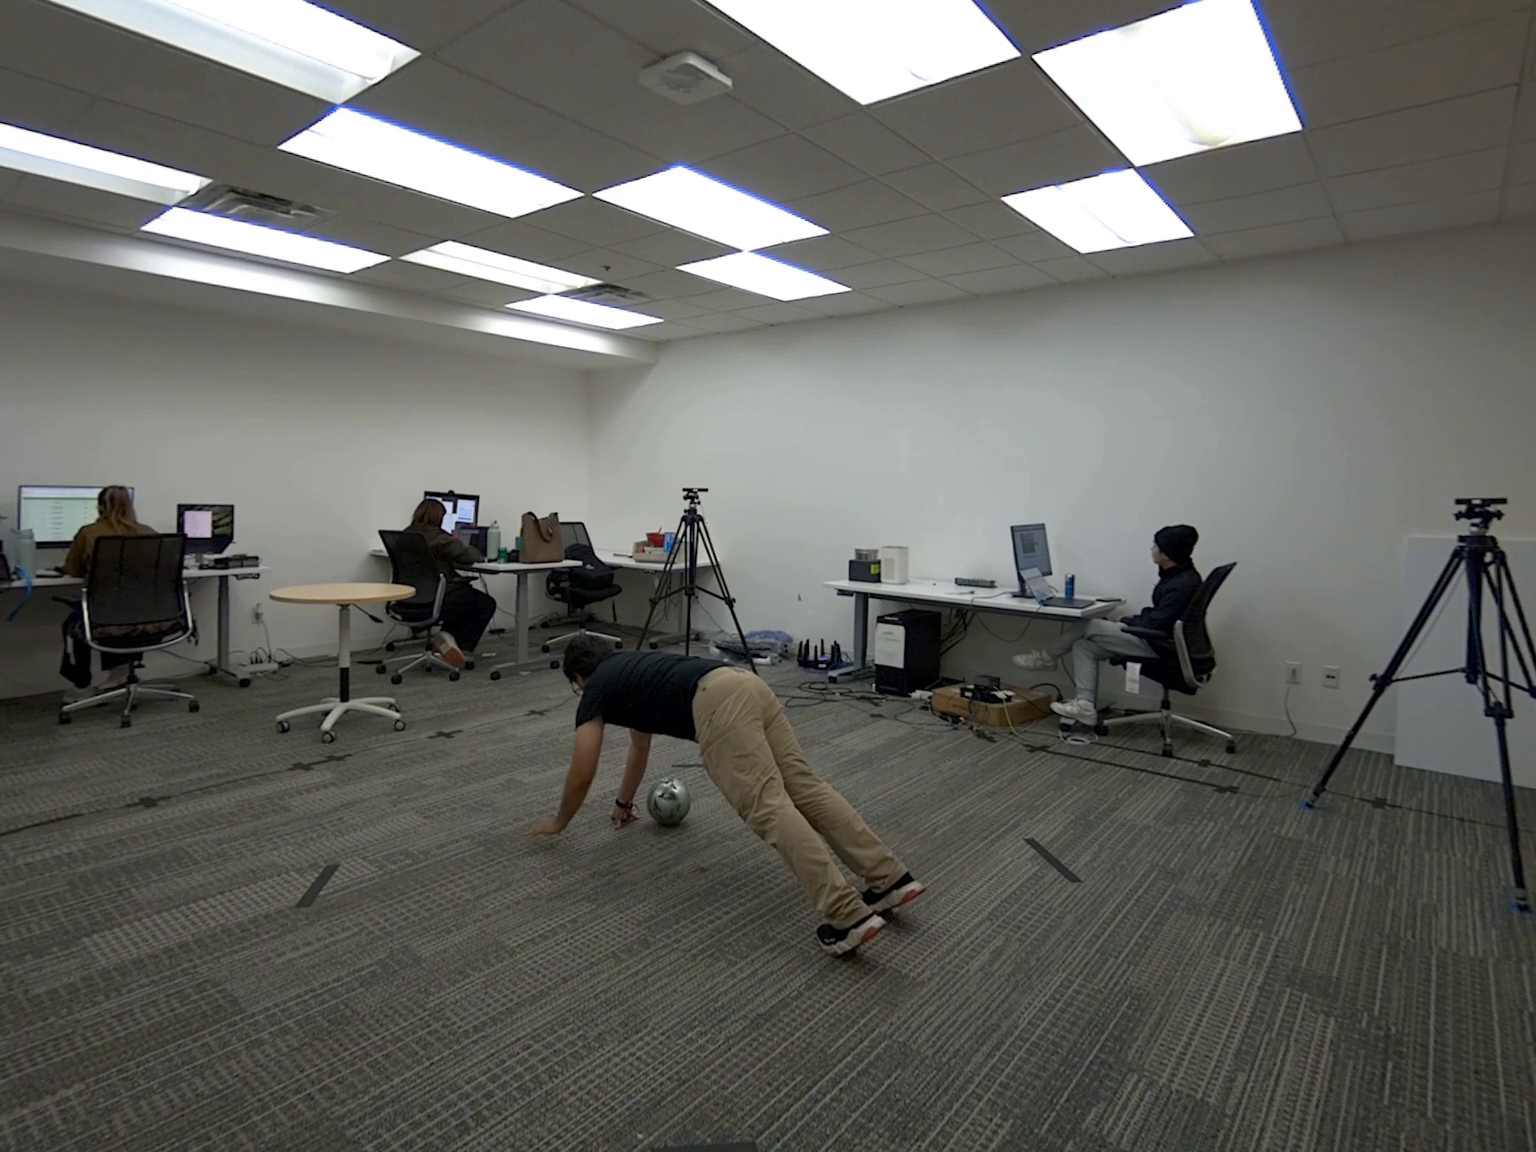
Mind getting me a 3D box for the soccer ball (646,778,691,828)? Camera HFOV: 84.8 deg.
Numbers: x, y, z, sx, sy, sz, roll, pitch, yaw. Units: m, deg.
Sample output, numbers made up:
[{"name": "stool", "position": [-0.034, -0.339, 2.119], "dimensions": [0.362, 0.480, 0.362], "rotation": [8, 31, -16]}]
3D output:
[{"name": "soccer ball", "position": [-0.421, 0.936, 3.527], "dimensions": [0.187, 0.187, 0.188], "rotation": [1, 4, -2]}]
